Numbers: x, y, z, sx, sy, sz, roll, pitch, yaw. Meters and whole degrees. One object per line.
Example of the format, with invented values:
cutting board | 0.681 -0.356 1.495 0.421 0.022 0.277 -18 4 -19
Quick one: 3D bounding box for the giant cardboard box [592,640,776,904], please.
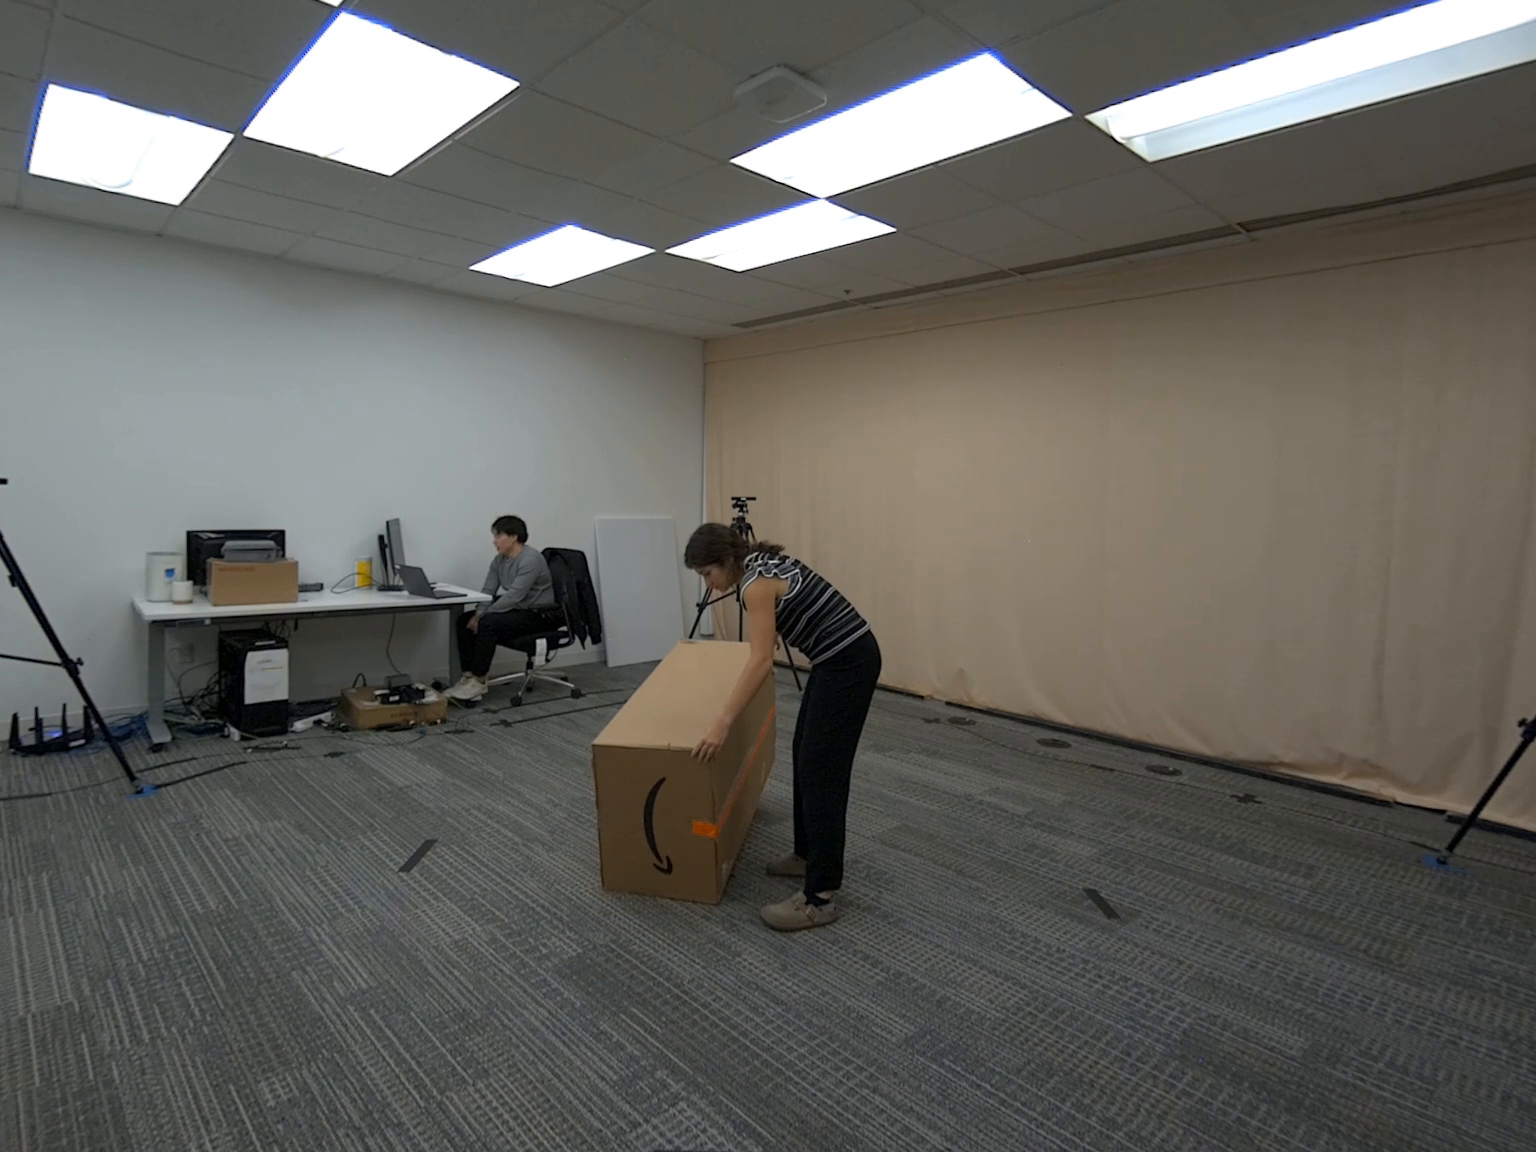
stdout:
giant cardboard box | -0.284 0.702 3.331 0.430 0.571 1.027 2 16 10
